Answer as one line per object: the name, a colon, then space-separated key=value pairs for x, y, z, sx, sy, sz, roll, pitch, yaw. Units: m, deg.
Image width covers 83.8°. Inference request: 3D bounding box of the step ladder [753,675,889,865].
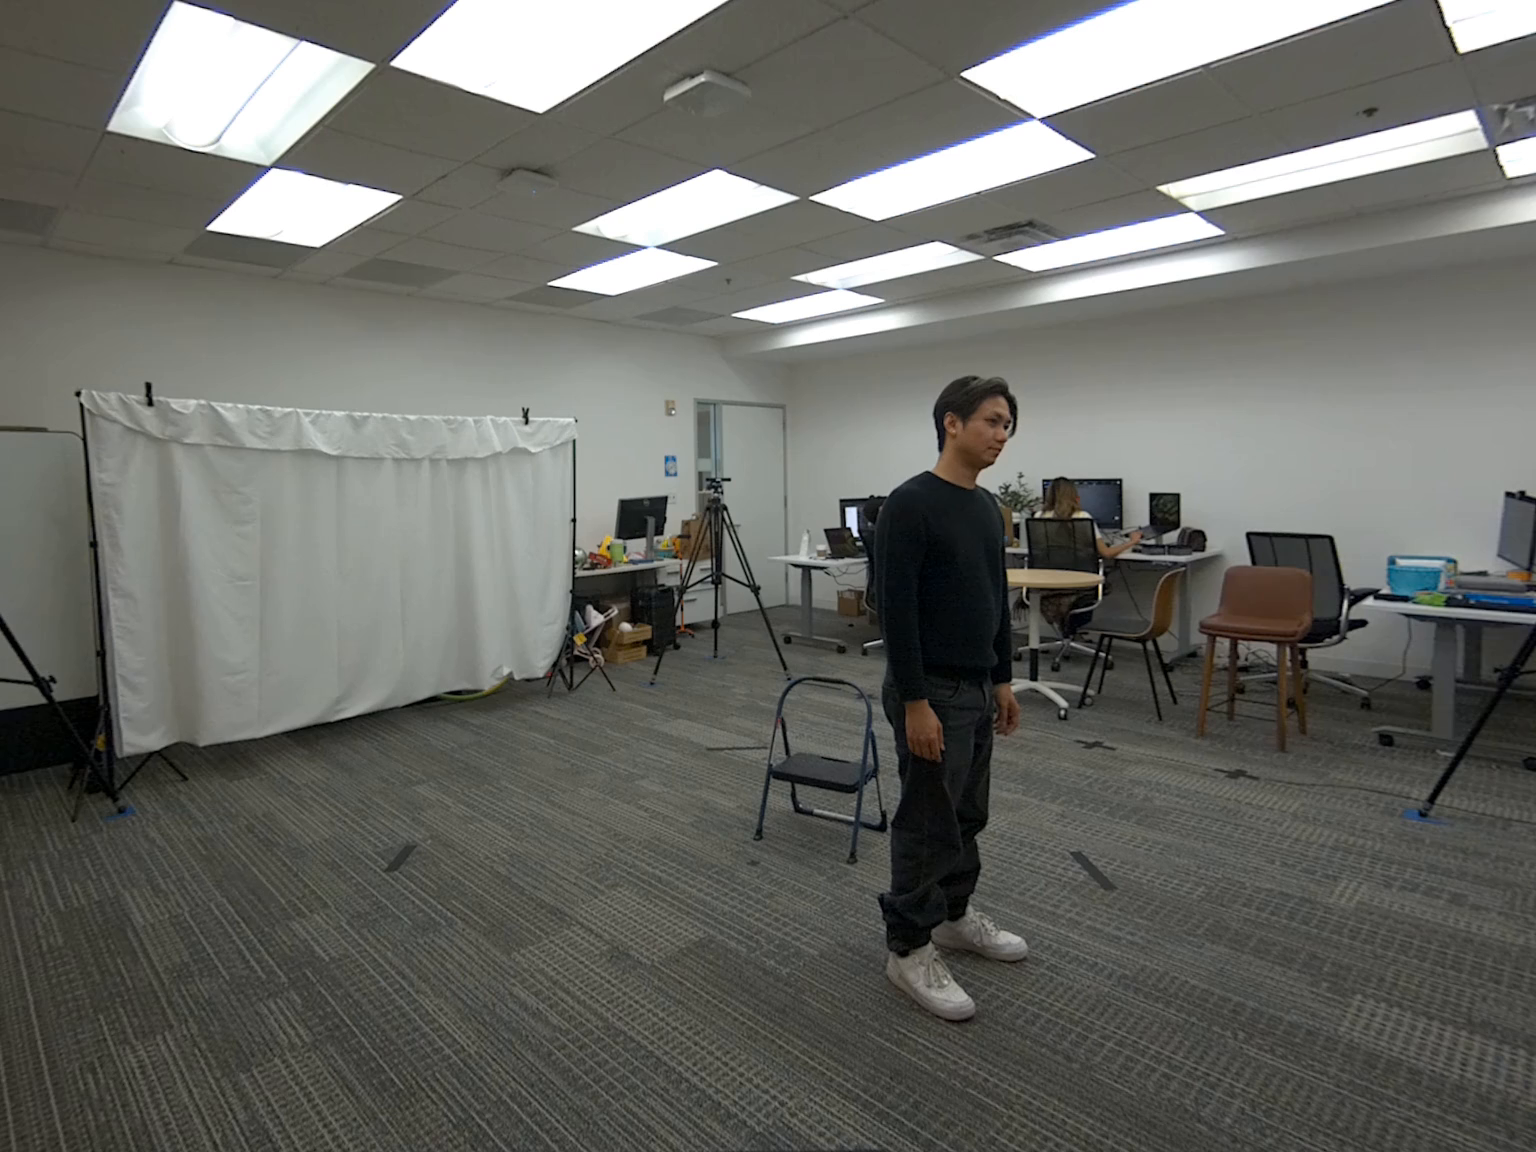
step ladder: x=0.208 y=0.710 z=3.319 sx=0.442 sy=0.604 sz=0.341 roll=2 pitch=5 yaw=32
